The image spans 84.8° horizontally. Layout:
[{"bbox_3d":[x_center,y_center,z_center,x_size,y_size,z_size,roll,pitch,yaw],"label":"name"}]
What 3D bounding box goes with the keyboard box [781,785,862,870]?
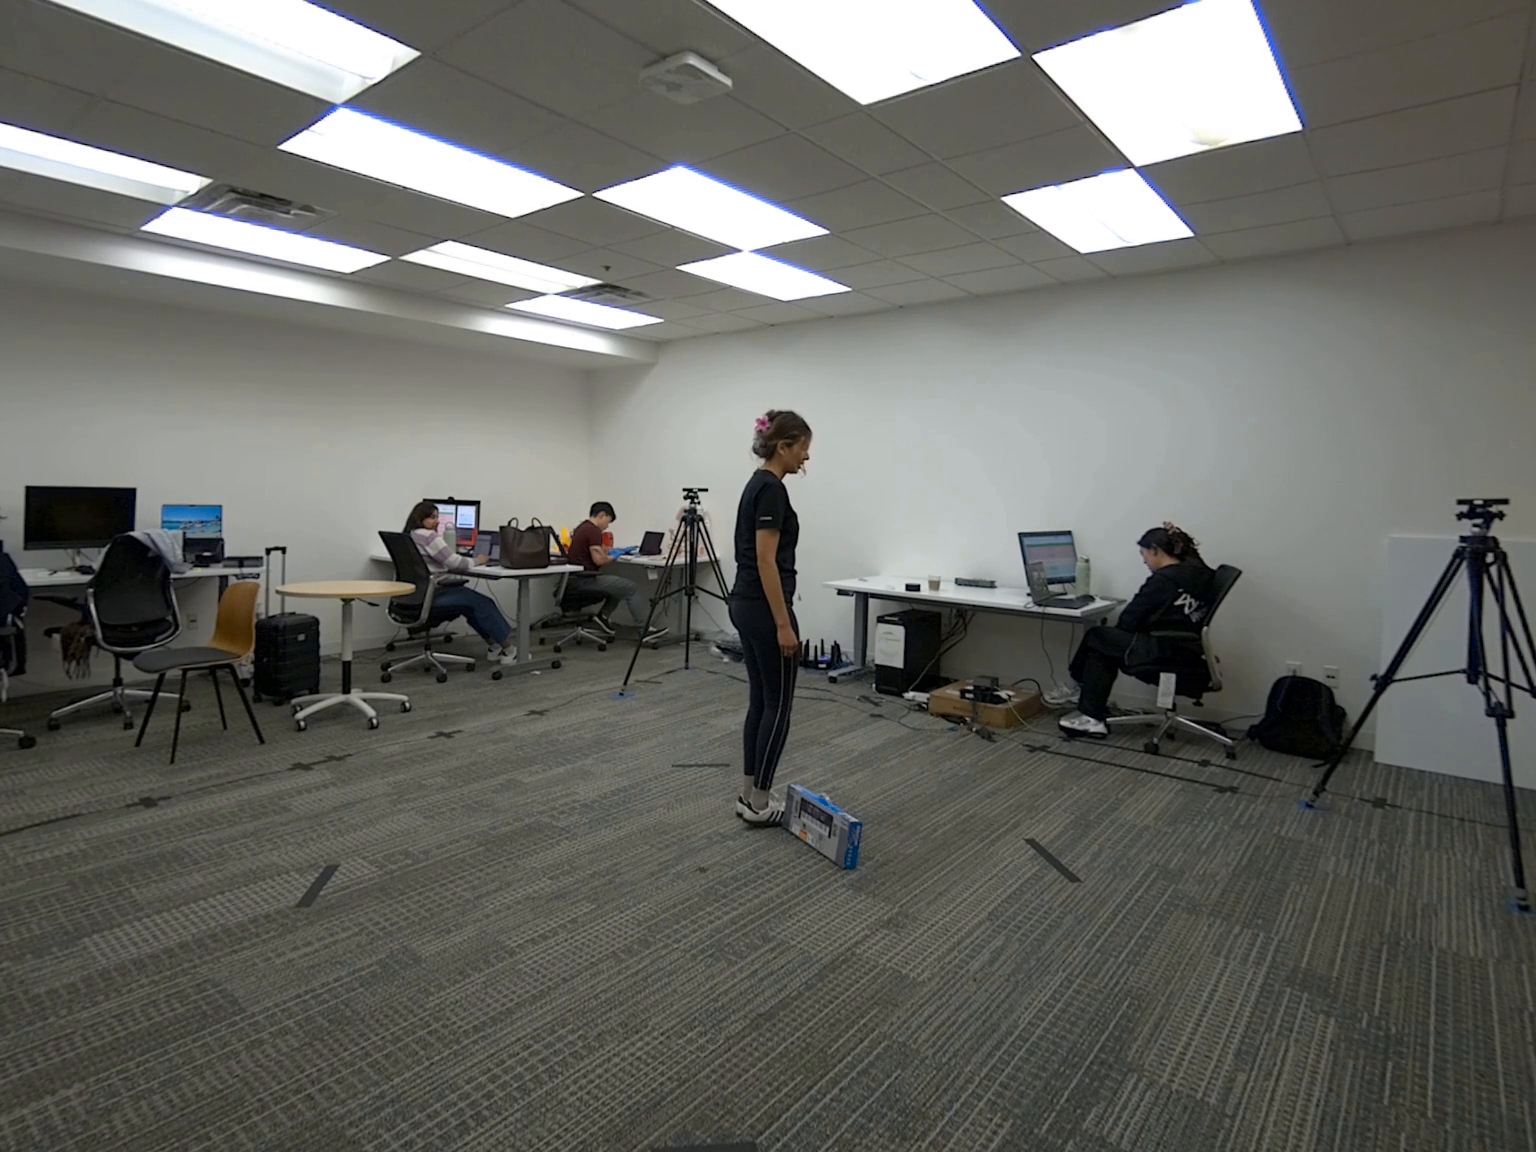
[{"bbox_3d":[0.200,0.969,3.329,0.057,0.176,0.450,9,0,-30],"label":"keyboard box"}]
